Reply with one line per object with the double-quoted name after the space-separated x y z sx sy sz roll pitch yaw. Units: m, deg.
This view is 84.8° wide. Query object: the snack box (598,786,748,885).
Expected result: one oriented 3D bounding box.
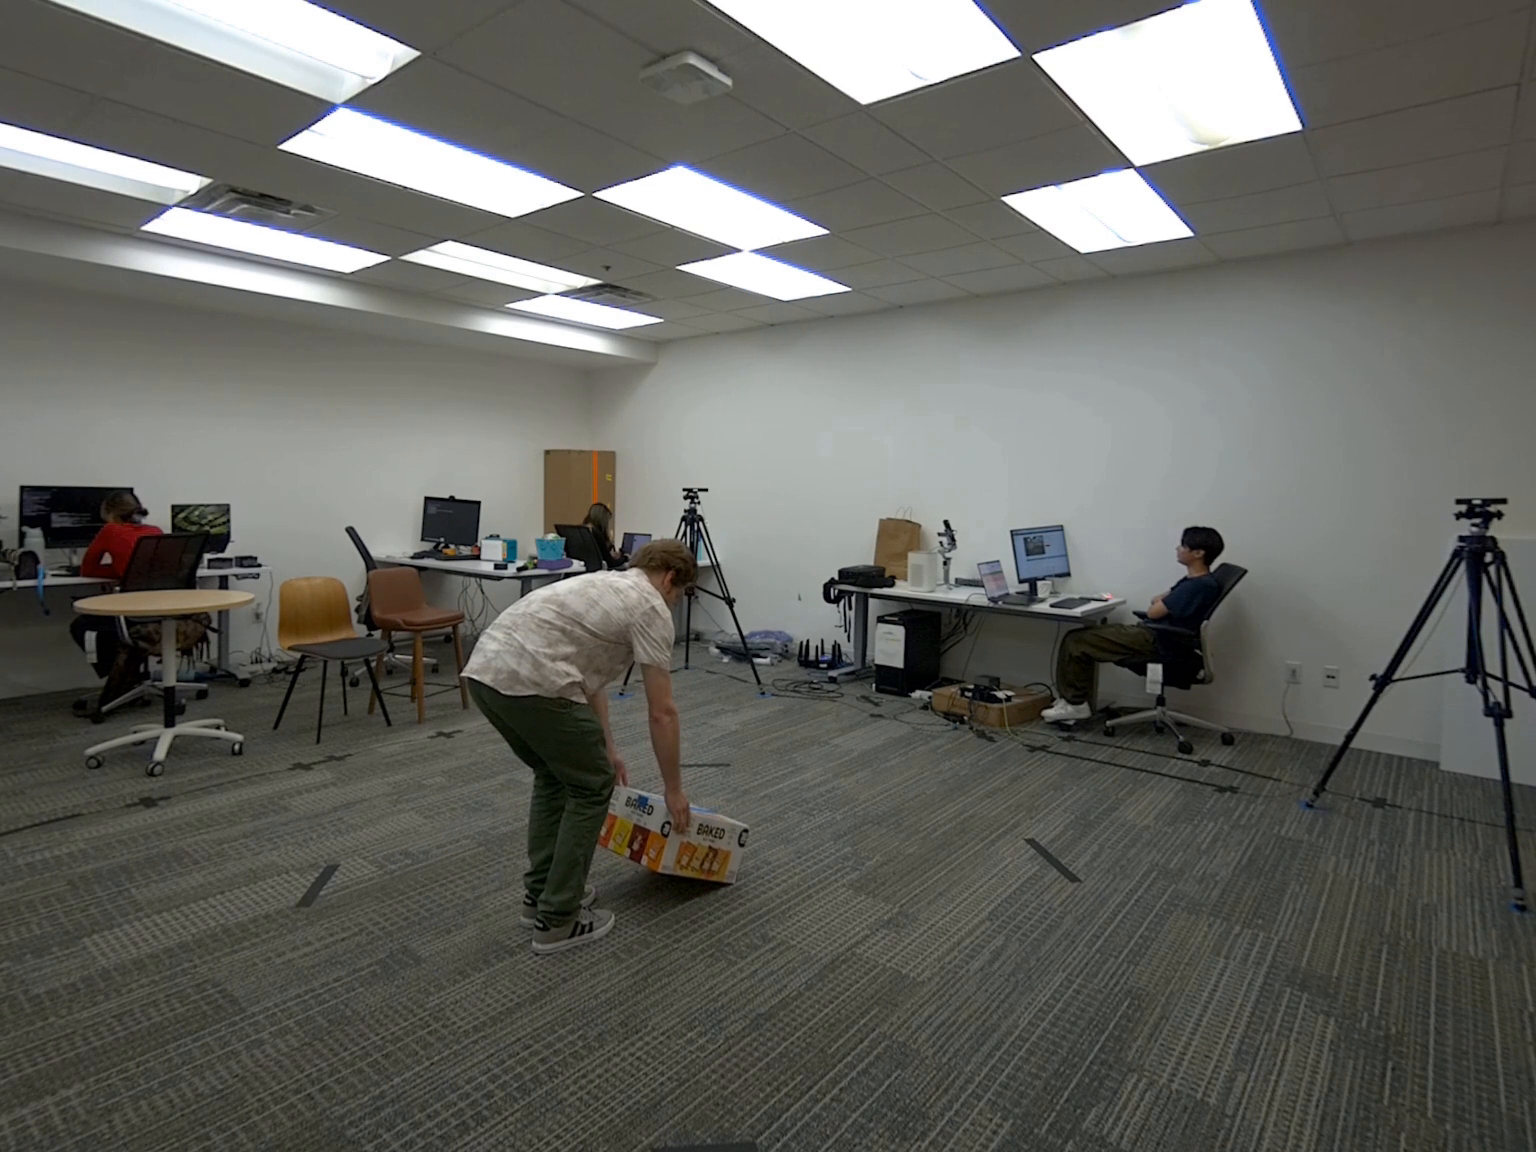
-0.344 0.908 2.996 0.352 0.207 0.388 6 -17 41 "snack box"
